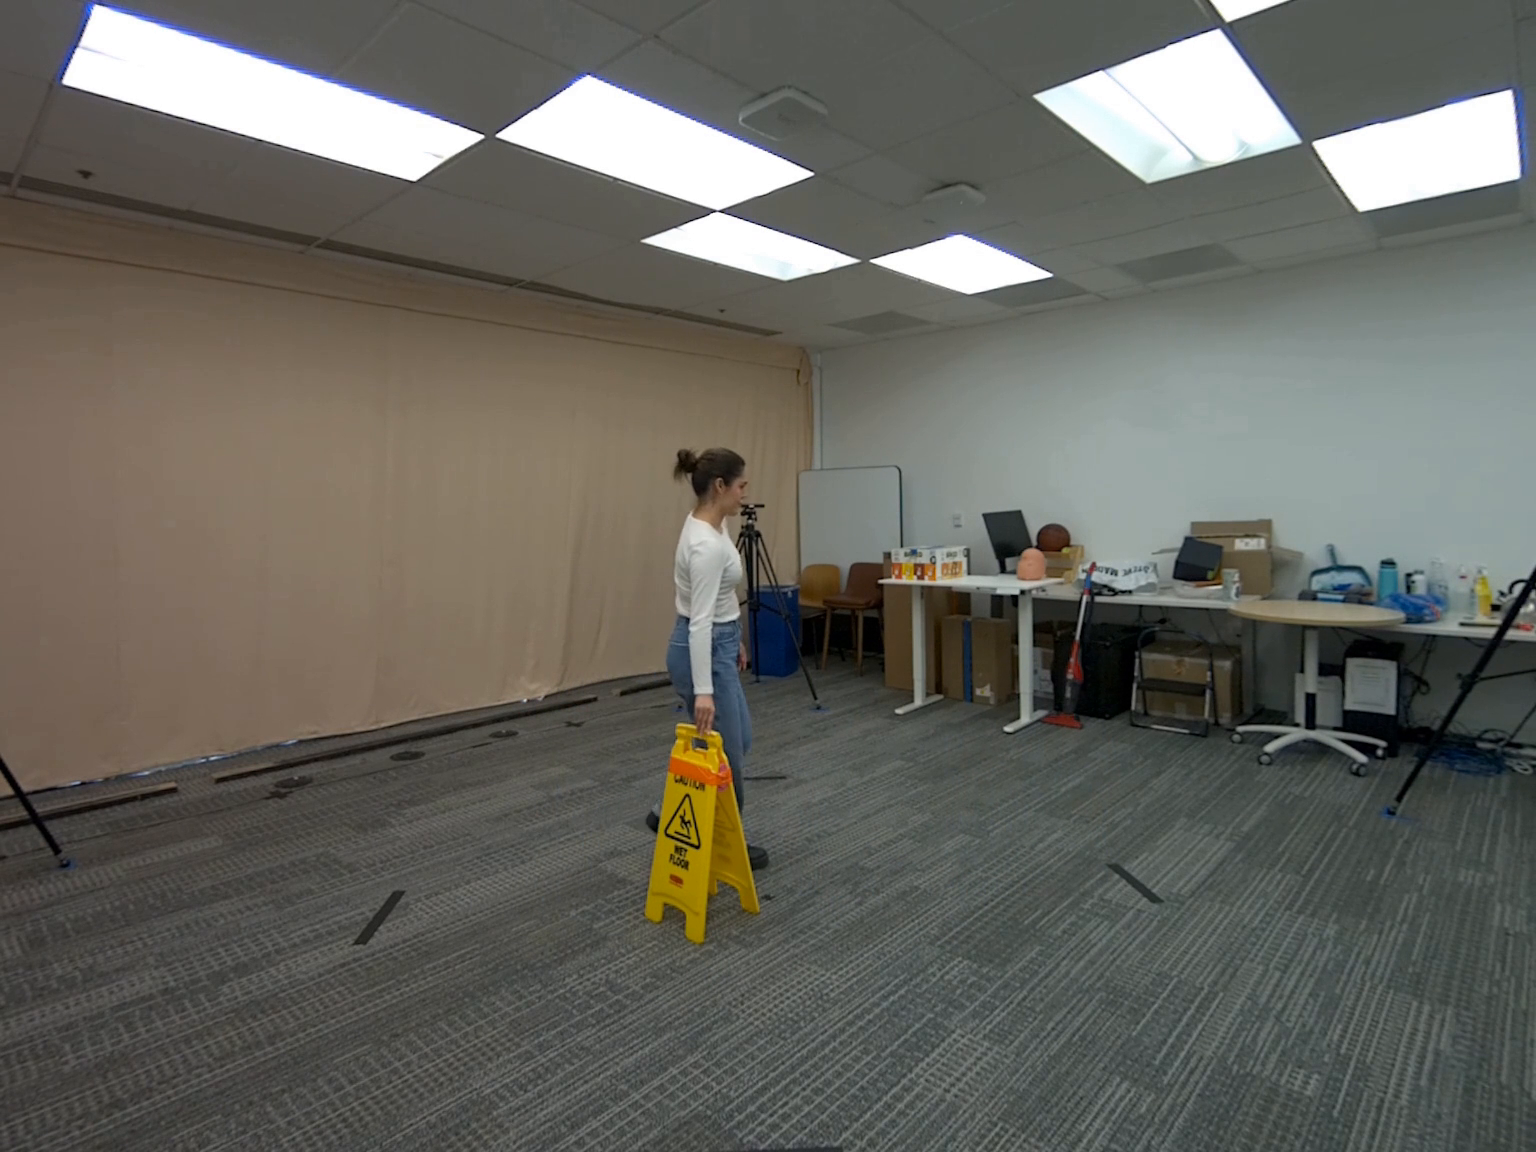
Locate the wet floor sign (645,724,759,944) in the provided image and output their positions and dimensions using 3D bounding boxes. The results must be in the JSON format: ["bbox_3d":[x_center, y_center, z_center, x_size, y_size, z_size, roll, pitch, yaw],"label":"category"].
[{"bbox_3d":[-0.229,0.827,2.846,0.291,0.644,0.281,2,5,43],"label":"wet floor sign"}]
